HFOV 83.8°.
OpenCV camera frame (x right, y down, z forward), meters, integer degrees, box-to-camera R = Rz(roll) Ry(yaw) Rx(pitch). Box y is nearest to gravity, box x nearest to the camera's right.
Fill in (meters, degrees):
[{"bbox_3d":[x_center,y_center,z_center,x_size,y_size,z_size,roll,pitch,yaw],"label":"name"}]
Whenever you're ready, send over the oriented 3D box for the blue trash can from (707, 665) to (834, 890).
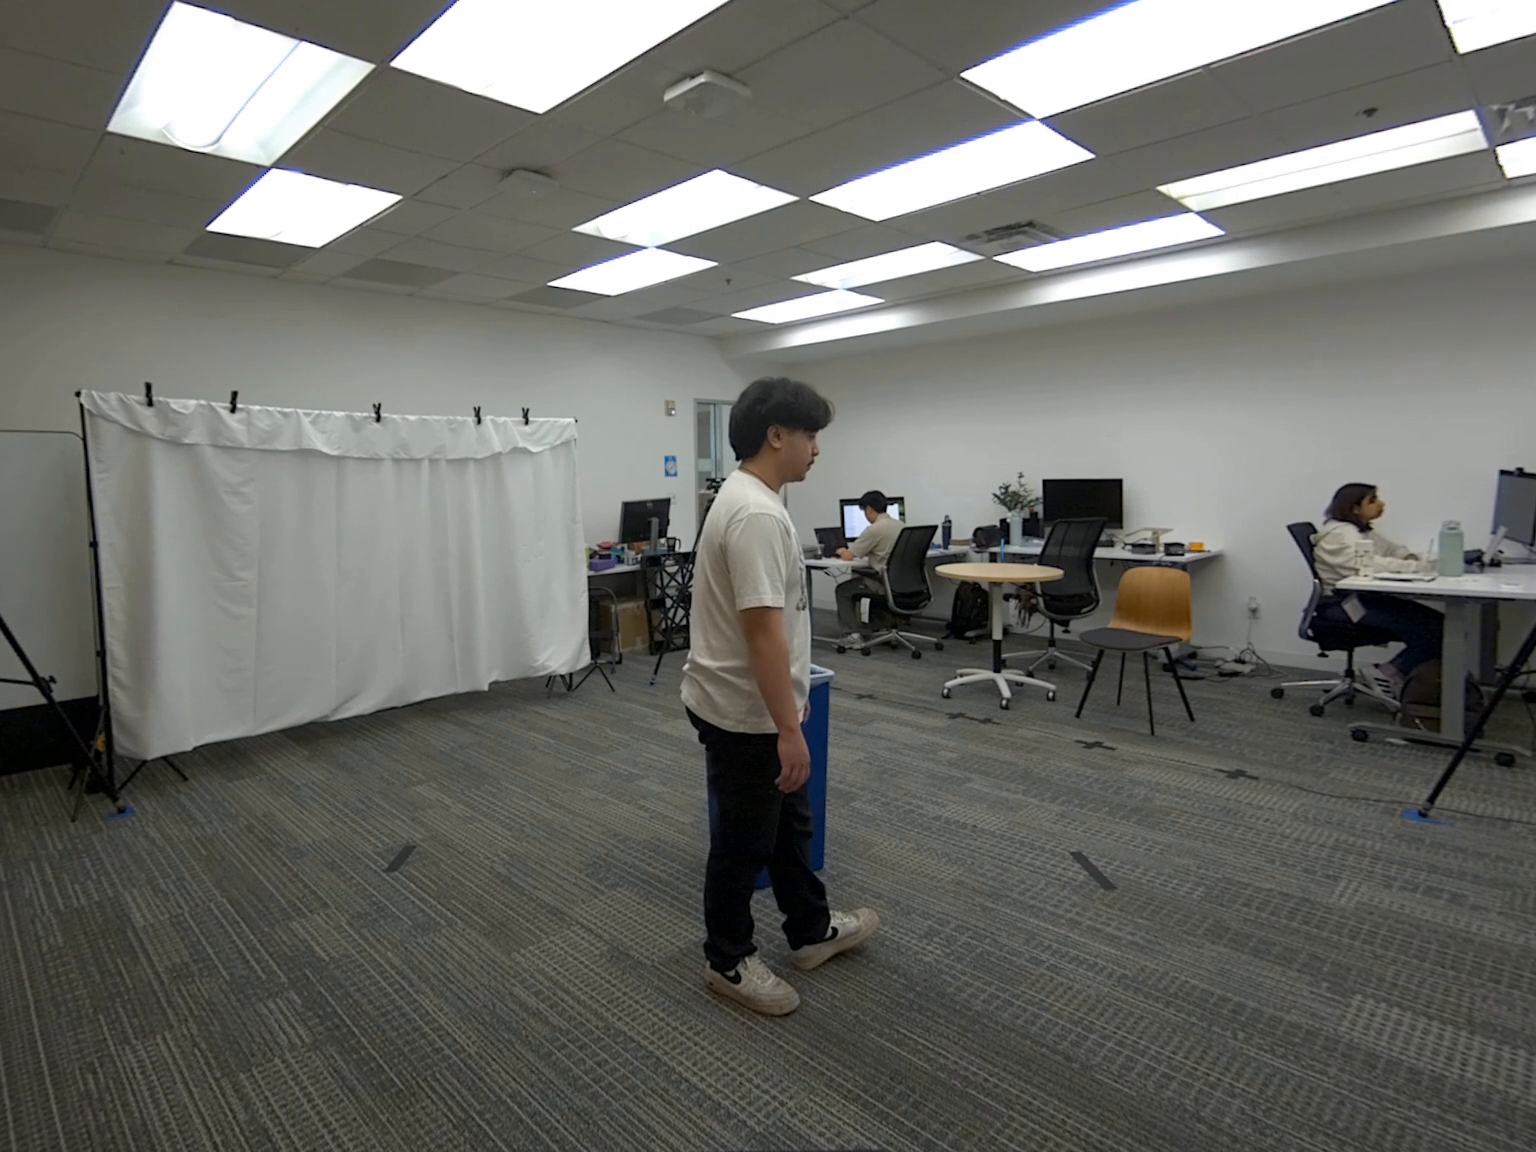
[{"bbox_3d":[0.004,0.688,3.069,0.368,0.711,0.385,-4,4,-35],"label":"blue trash can"}]
